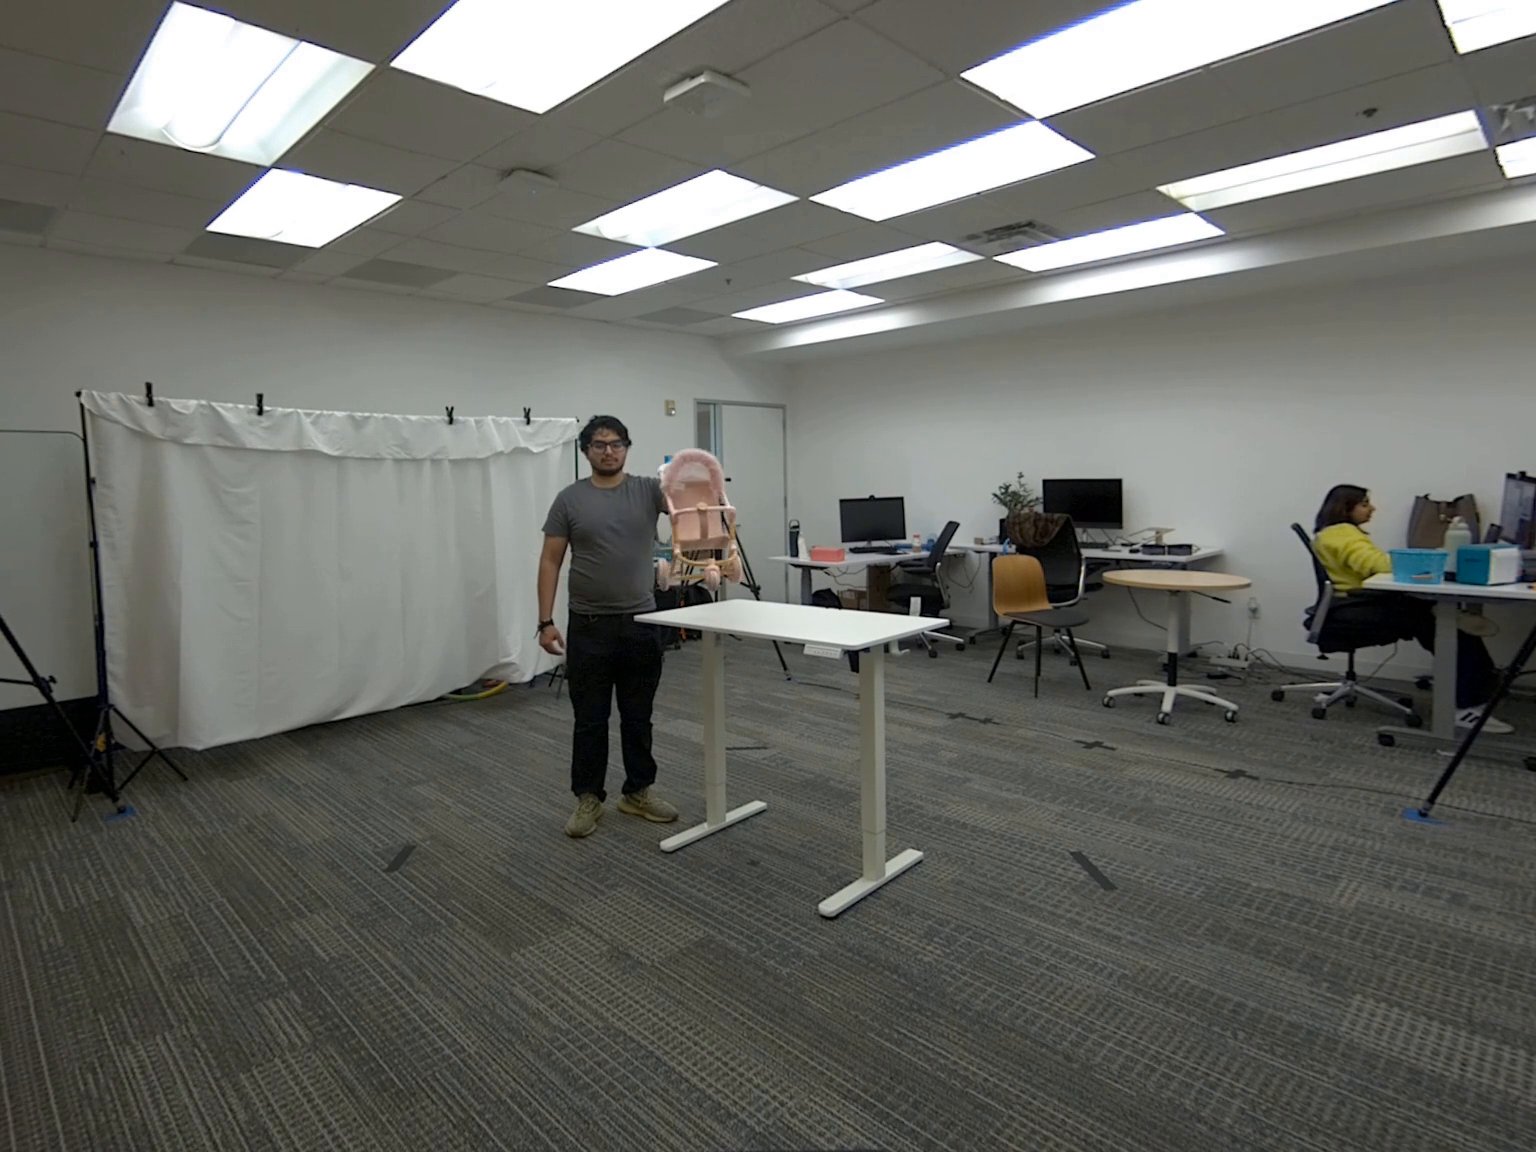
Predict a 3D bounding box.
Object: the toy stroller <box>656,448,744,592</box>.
[{"bbox_3d":[-0.235,-0.179,2.848,0.279,0.542,0.339,-4,-14,-10],"label":"toy stroller"}]
